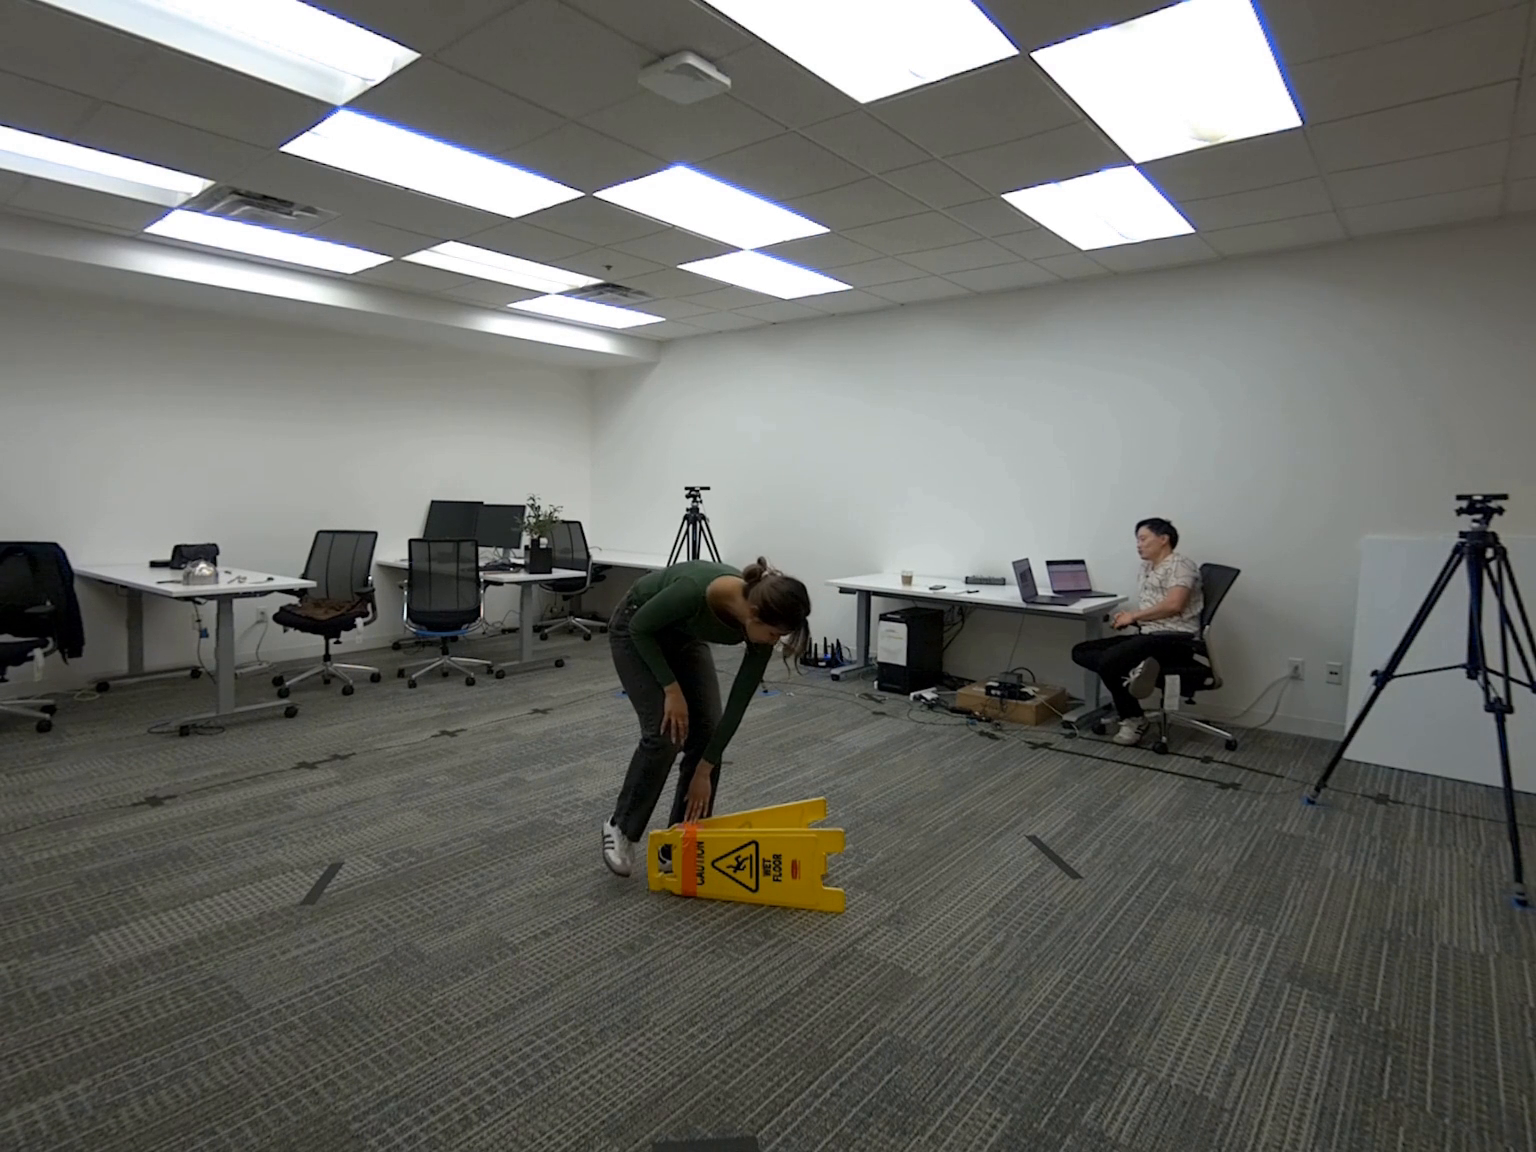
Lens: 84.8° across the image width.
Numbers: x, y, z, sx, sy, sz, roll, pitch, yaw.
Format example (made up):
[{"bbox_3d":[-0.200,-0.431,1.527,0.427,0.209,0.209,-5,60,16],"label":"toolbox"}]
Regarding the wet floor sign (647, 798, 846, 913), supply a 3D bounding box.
[{"bbox_3d":[-0.096,0.954,2.907,0.643,0.281,0.292,-2,5,-5],"label":"wet floor sign"}]
